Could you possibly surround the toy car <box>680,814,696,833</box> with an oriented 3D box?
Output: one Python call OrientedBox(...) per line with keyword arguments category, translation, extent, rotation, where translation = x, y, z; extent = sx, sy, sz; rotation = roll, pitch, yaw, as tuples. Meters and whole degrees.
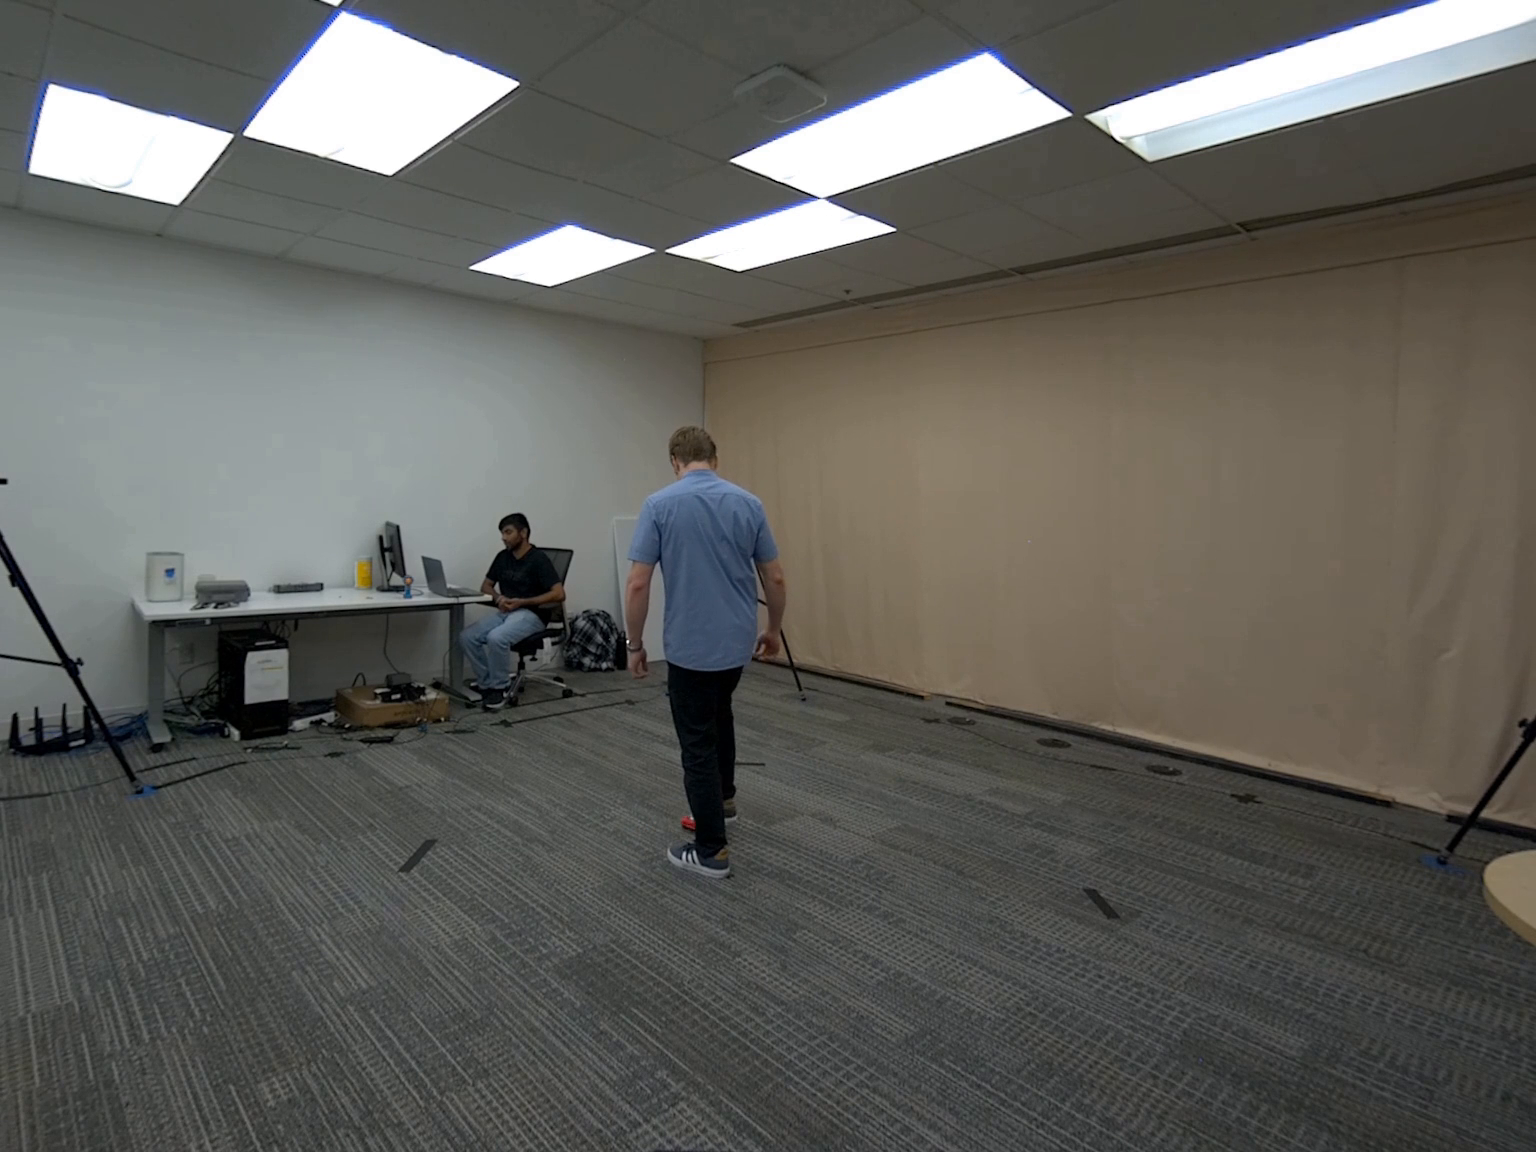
OrientedBox(category="toy car", translation=(-0.254, 1.034, 3.590), extent=(0.133, 0.082, 0.251), rotation=(6, 17, 38))
